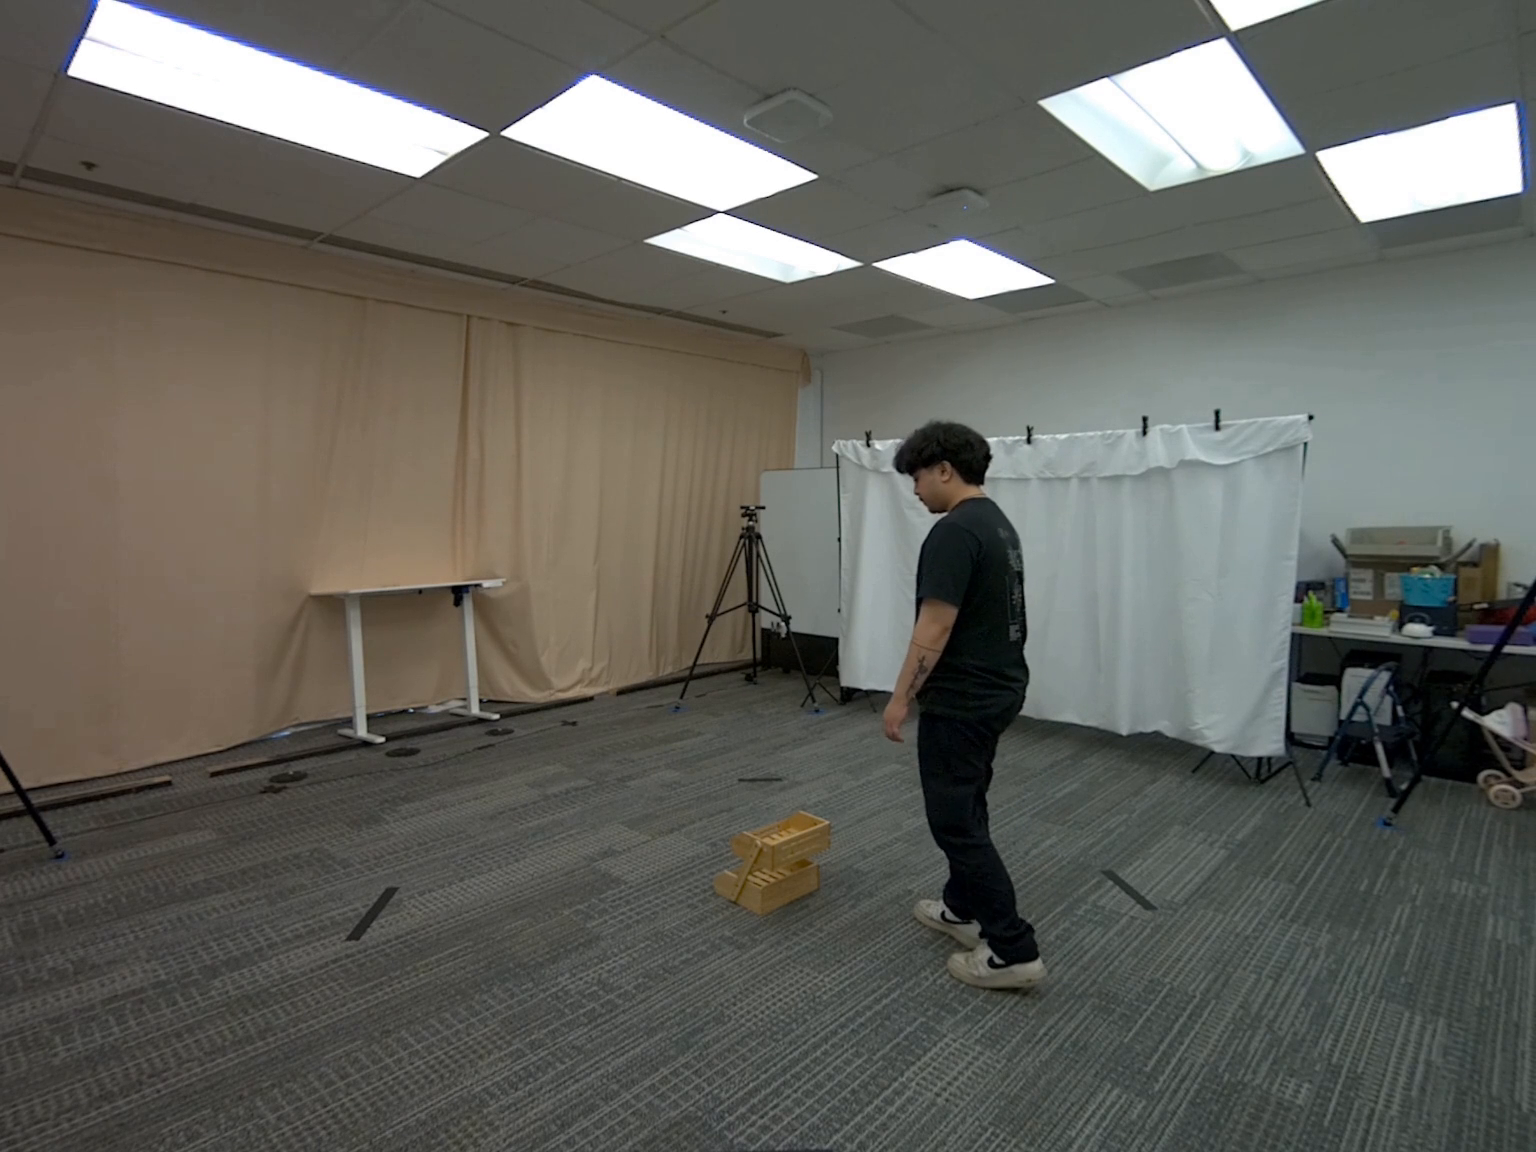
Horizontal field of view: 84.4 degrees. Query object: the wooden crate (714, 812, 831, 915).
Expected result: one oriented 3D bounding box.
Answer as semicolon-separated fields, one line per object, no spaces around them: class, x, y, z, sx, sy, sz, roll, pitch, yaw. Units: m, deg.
wooden crate;0.014;1.005;3.029;0.314;0.272;0.312;-4;6;-44
